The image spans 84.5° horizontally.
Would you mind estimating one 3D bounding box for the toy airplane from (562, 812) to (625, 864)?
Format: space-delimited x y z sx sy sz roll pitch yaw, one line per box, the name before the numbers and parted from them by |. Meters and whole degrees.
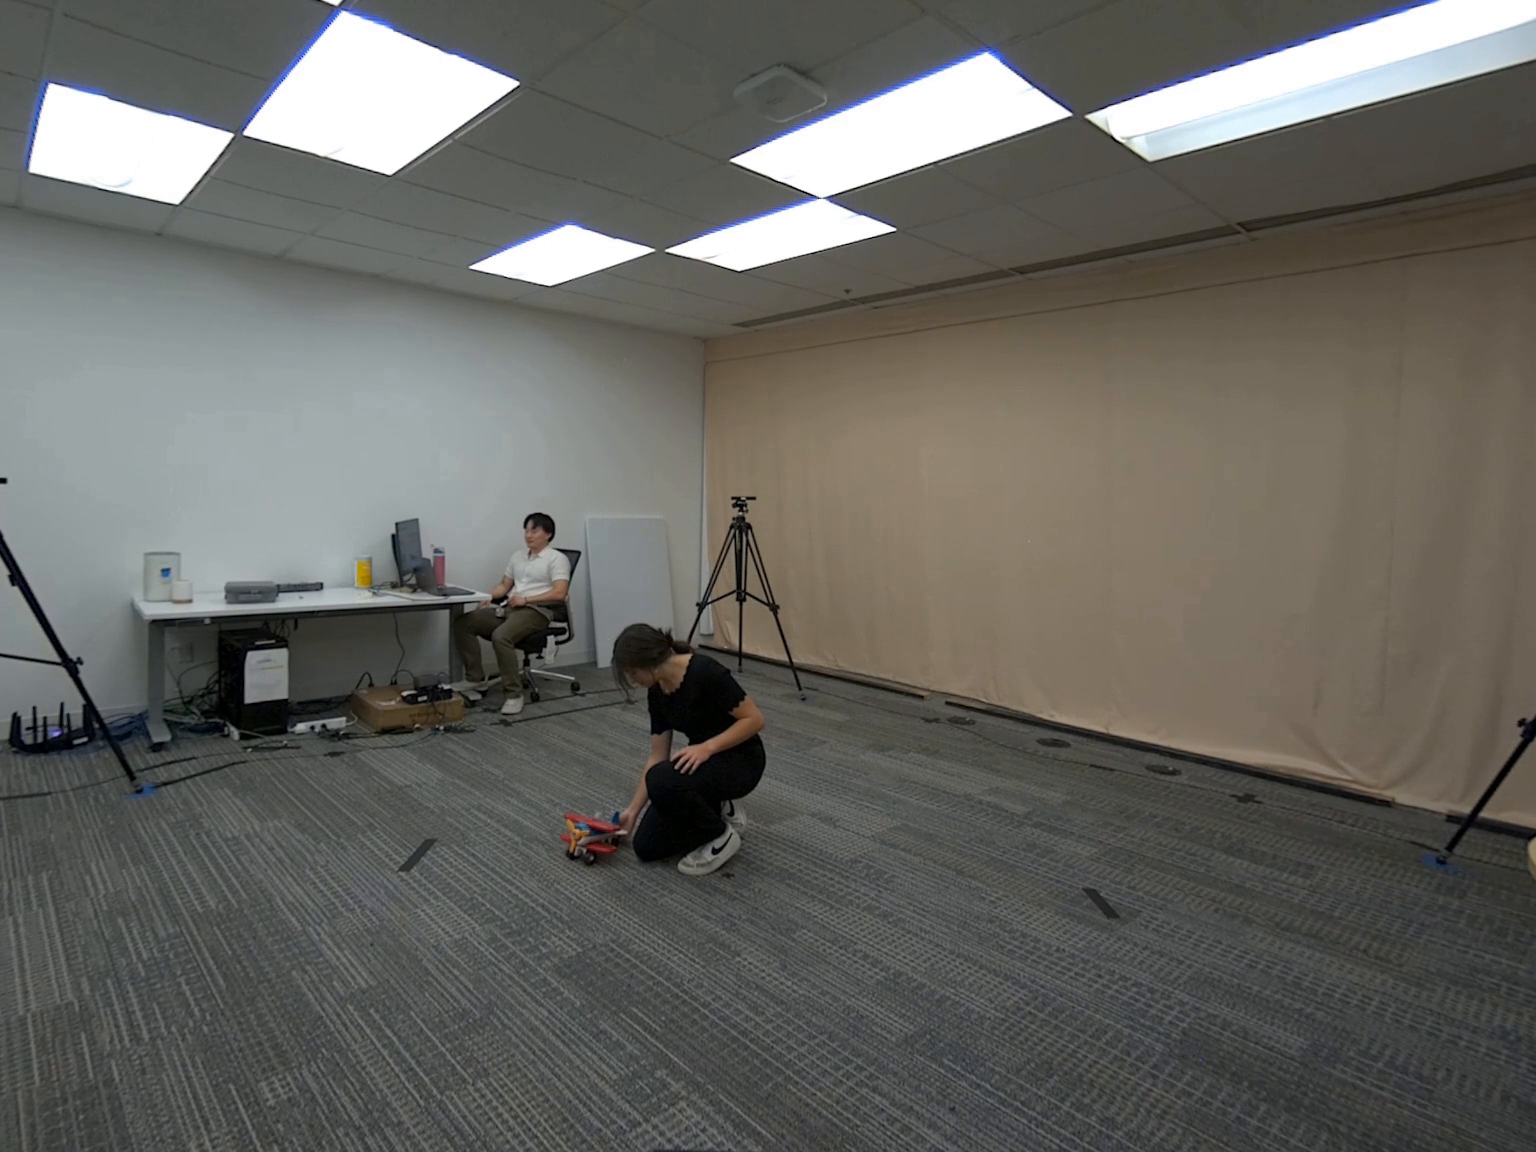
toy airplane | -0.690 0.996 3.272 0.252 0.156 0.260 2 7 3
